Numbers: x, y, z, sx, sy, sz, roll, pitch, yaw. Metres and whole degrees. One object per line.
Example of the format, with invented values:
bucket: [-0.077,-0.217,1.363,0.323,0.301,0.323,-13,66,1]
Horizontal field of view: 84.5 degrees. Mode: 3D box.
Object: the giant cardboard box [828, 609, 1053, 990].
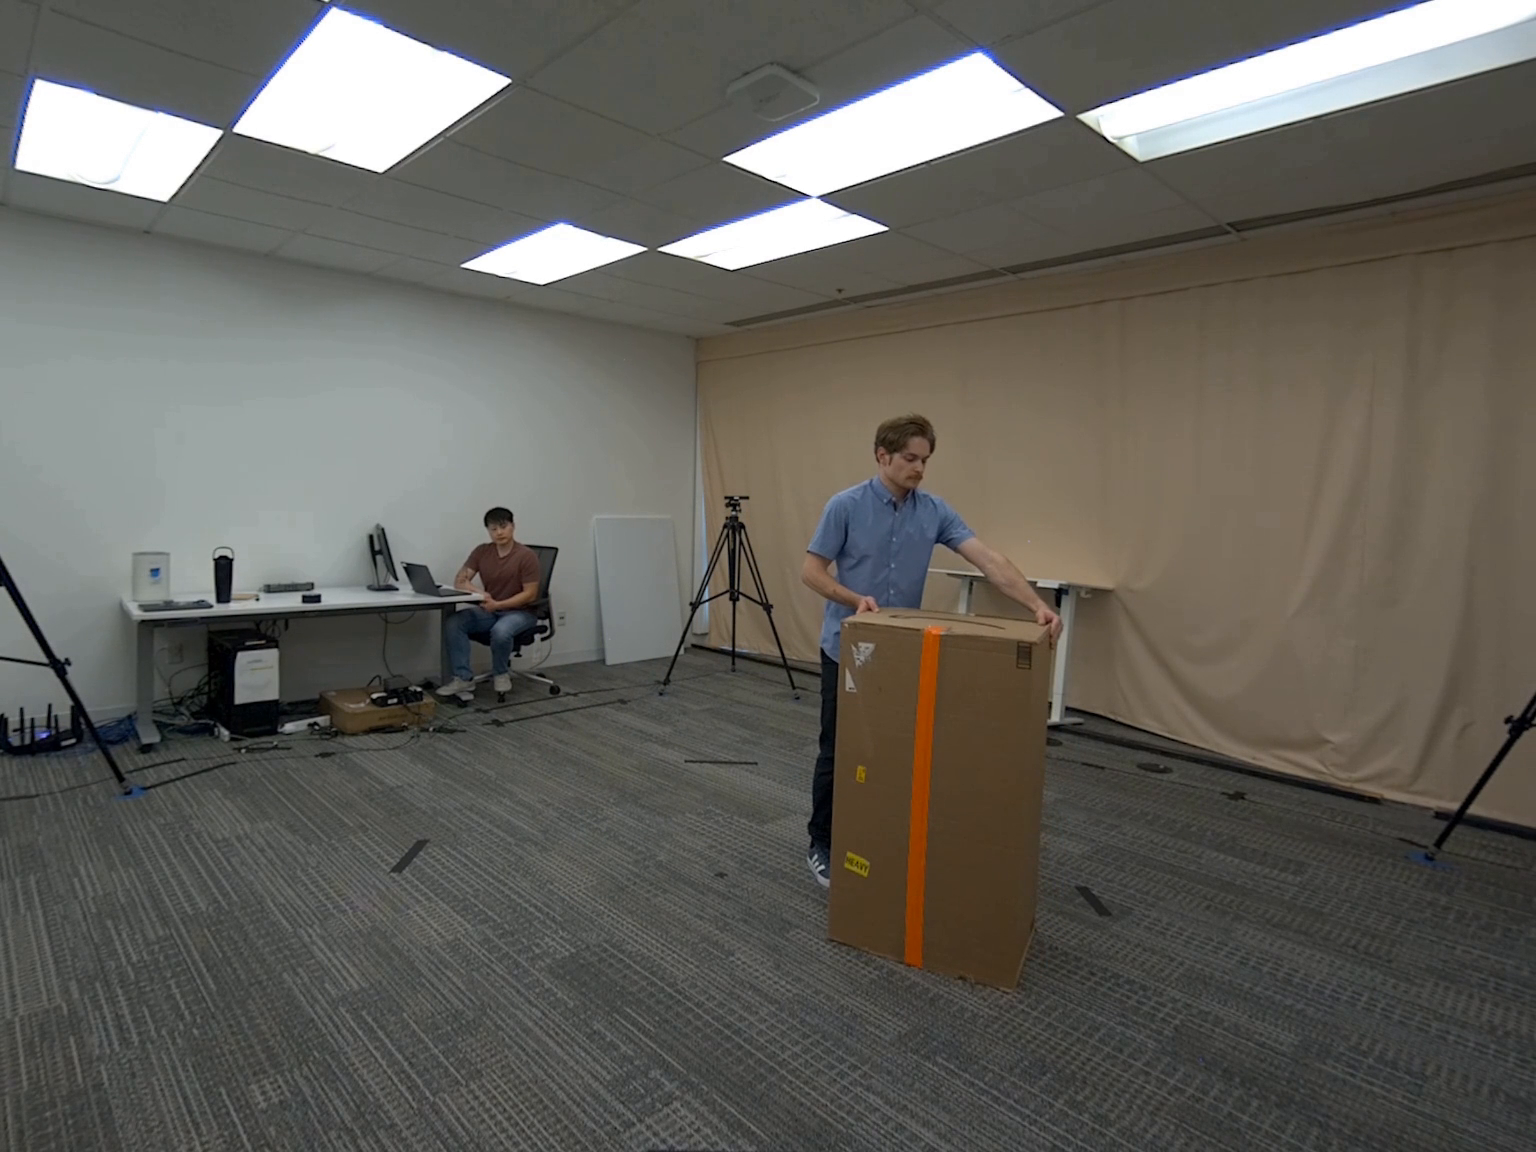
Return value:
giant cardboard box: [0.552,0.654,2.672,0.590,1.023,0.418,5,5,28]
